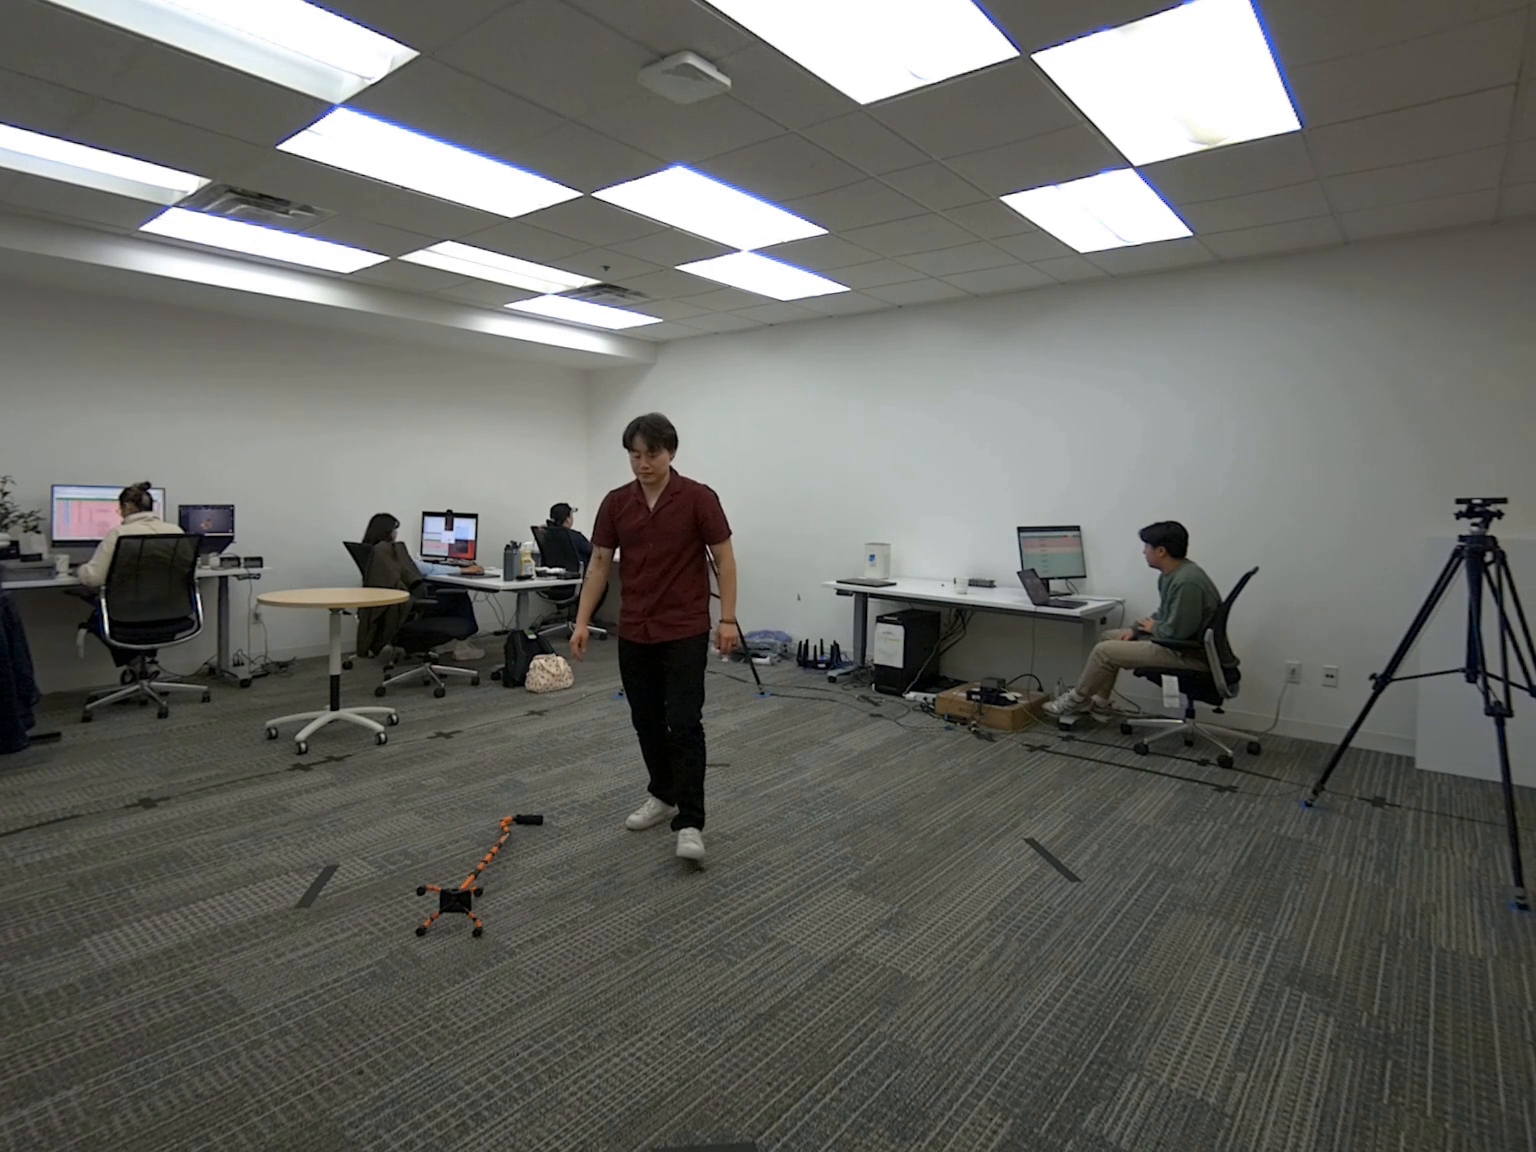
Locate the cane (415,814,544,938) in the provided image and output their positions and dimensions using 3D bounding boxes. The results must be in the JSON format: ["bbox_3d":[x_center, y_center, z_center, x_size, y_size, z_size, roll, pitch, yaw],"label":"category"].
[{"bbox_3d":[-1.015,1.019,3.065,0.206,0.152,0.908,1,1,-3],"label":"cane"}]
